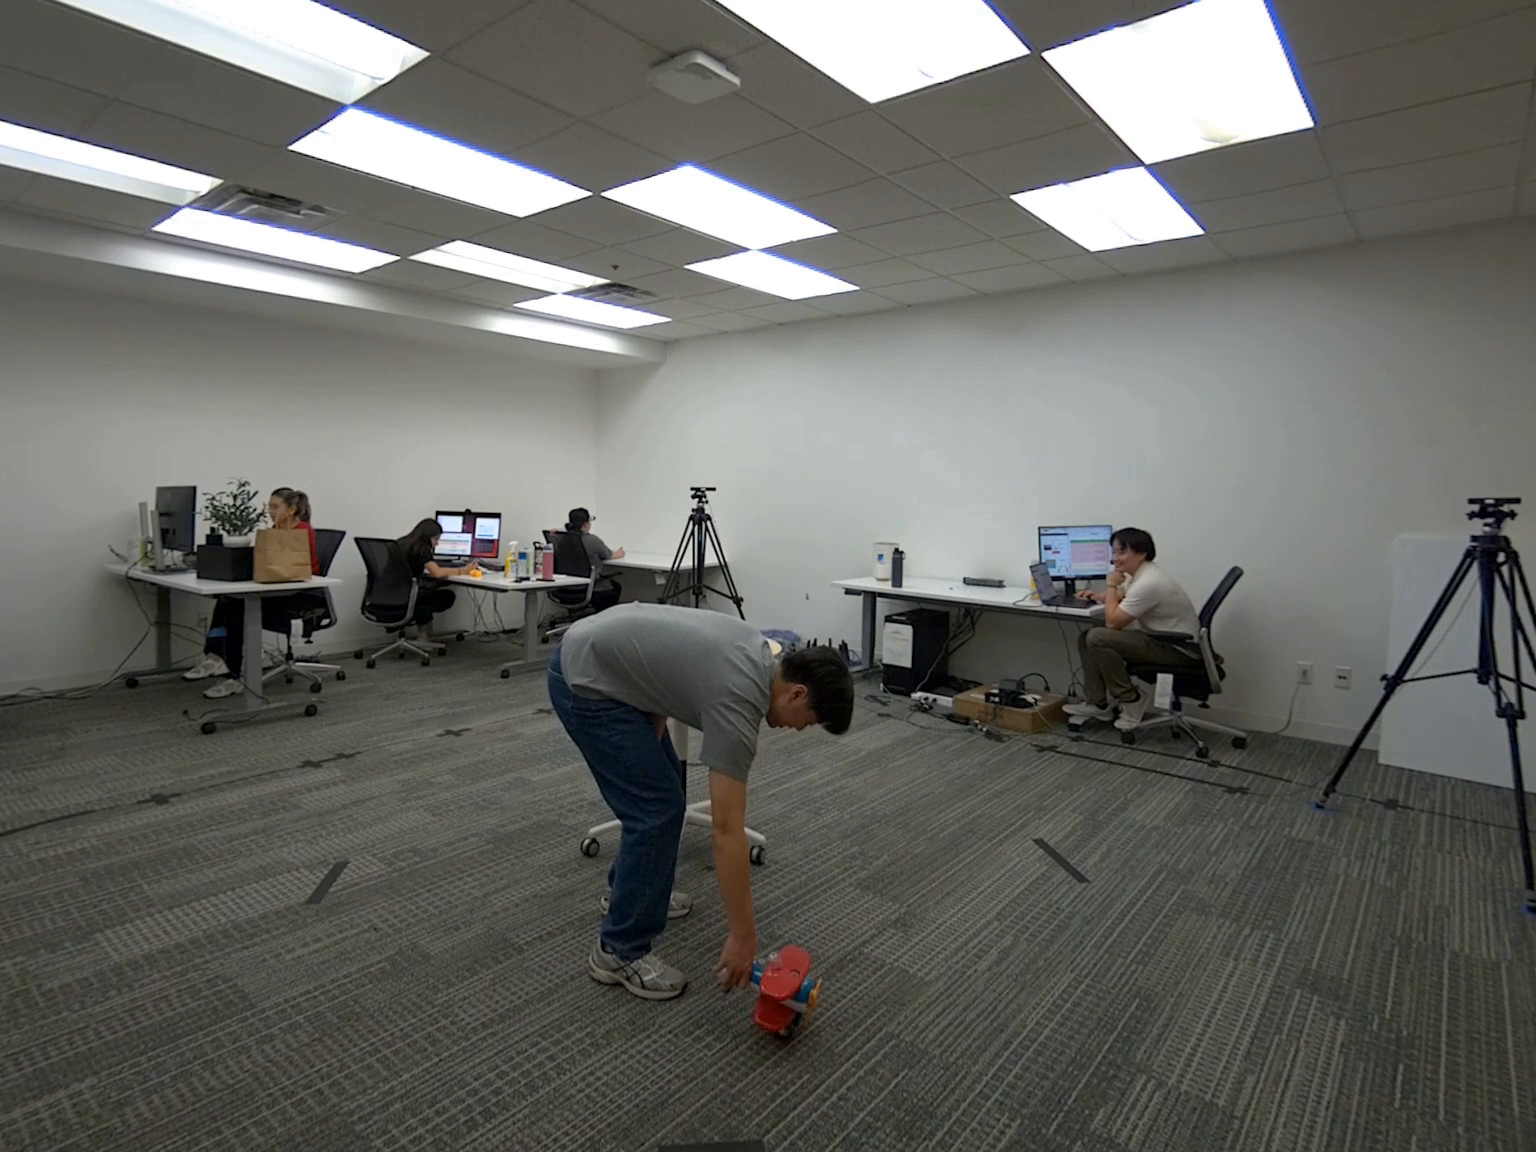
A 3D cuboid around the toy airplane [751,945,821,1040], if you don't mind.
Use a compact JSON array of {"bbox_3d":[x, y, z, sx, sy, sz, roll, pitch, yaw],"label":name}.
[{"bbox_3d":[-0.008,1.066,2.186,0.256,0.156,0.255,22,10,-10],"label":"toy airplane"}]
